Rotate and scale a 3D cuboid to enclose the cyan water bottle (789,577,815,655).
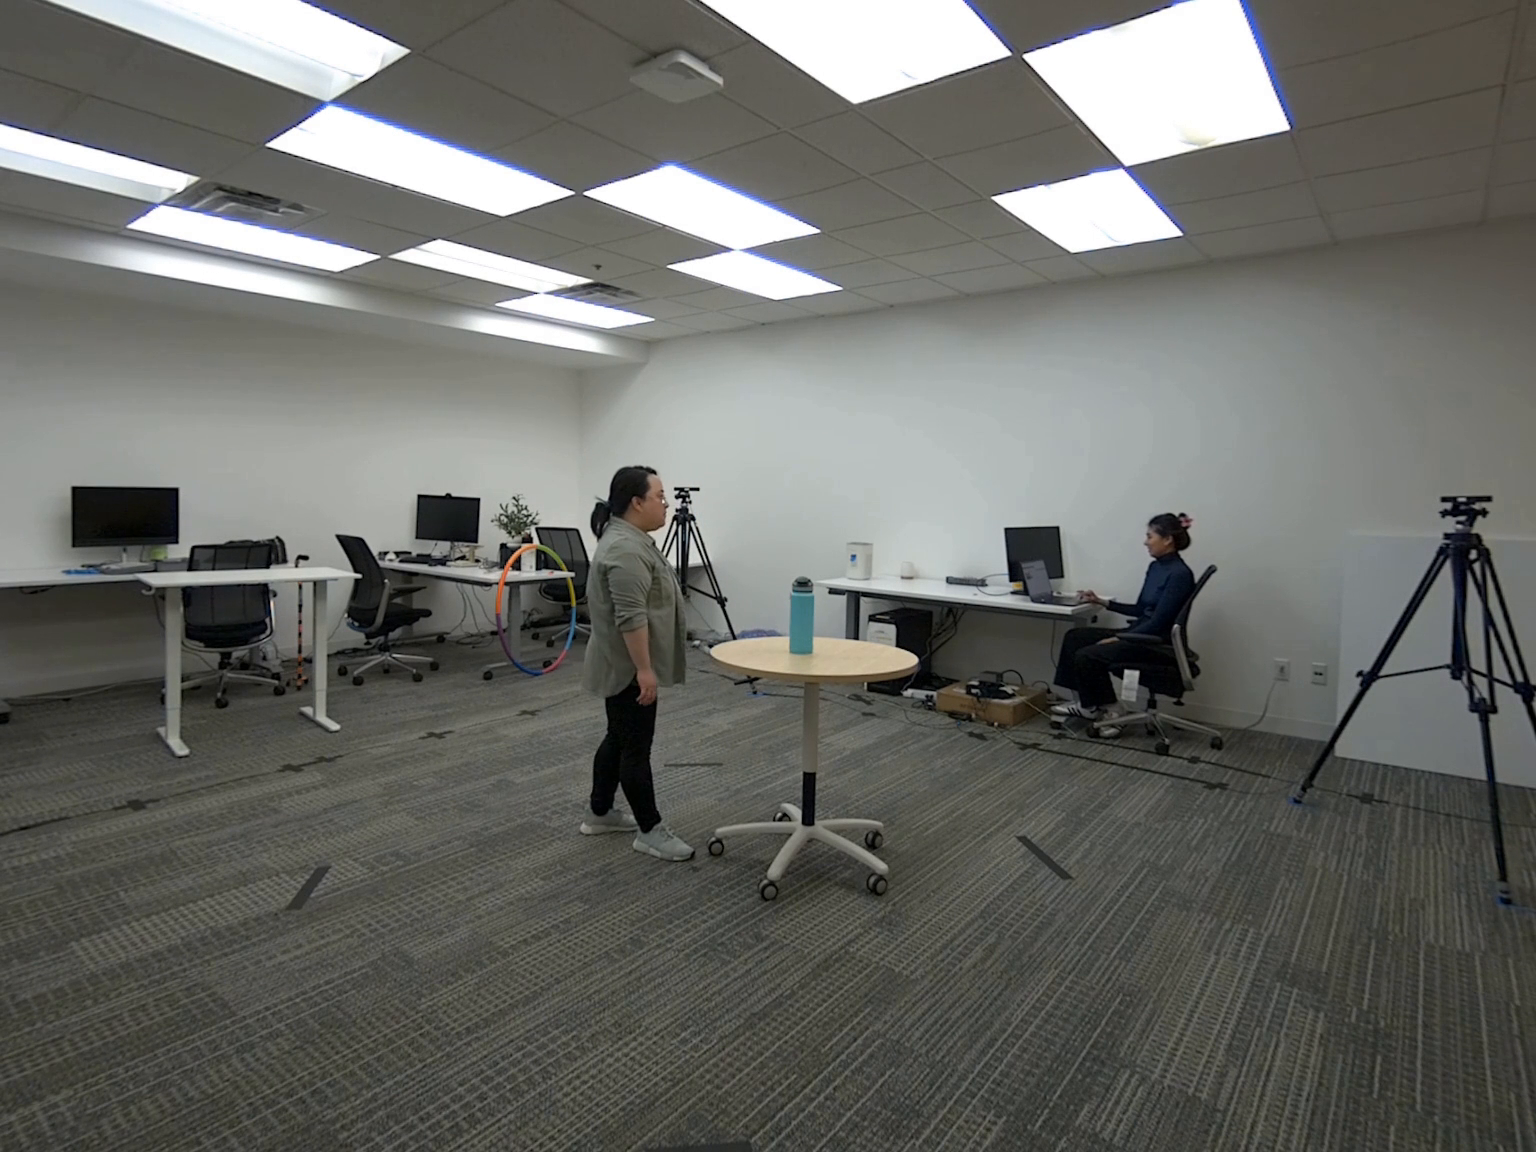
[{"bbox_3d":[0.126,0.144,3.182,0.092,0.283,0.092,1,2,-2],"label":"cyan water bottle"}]
